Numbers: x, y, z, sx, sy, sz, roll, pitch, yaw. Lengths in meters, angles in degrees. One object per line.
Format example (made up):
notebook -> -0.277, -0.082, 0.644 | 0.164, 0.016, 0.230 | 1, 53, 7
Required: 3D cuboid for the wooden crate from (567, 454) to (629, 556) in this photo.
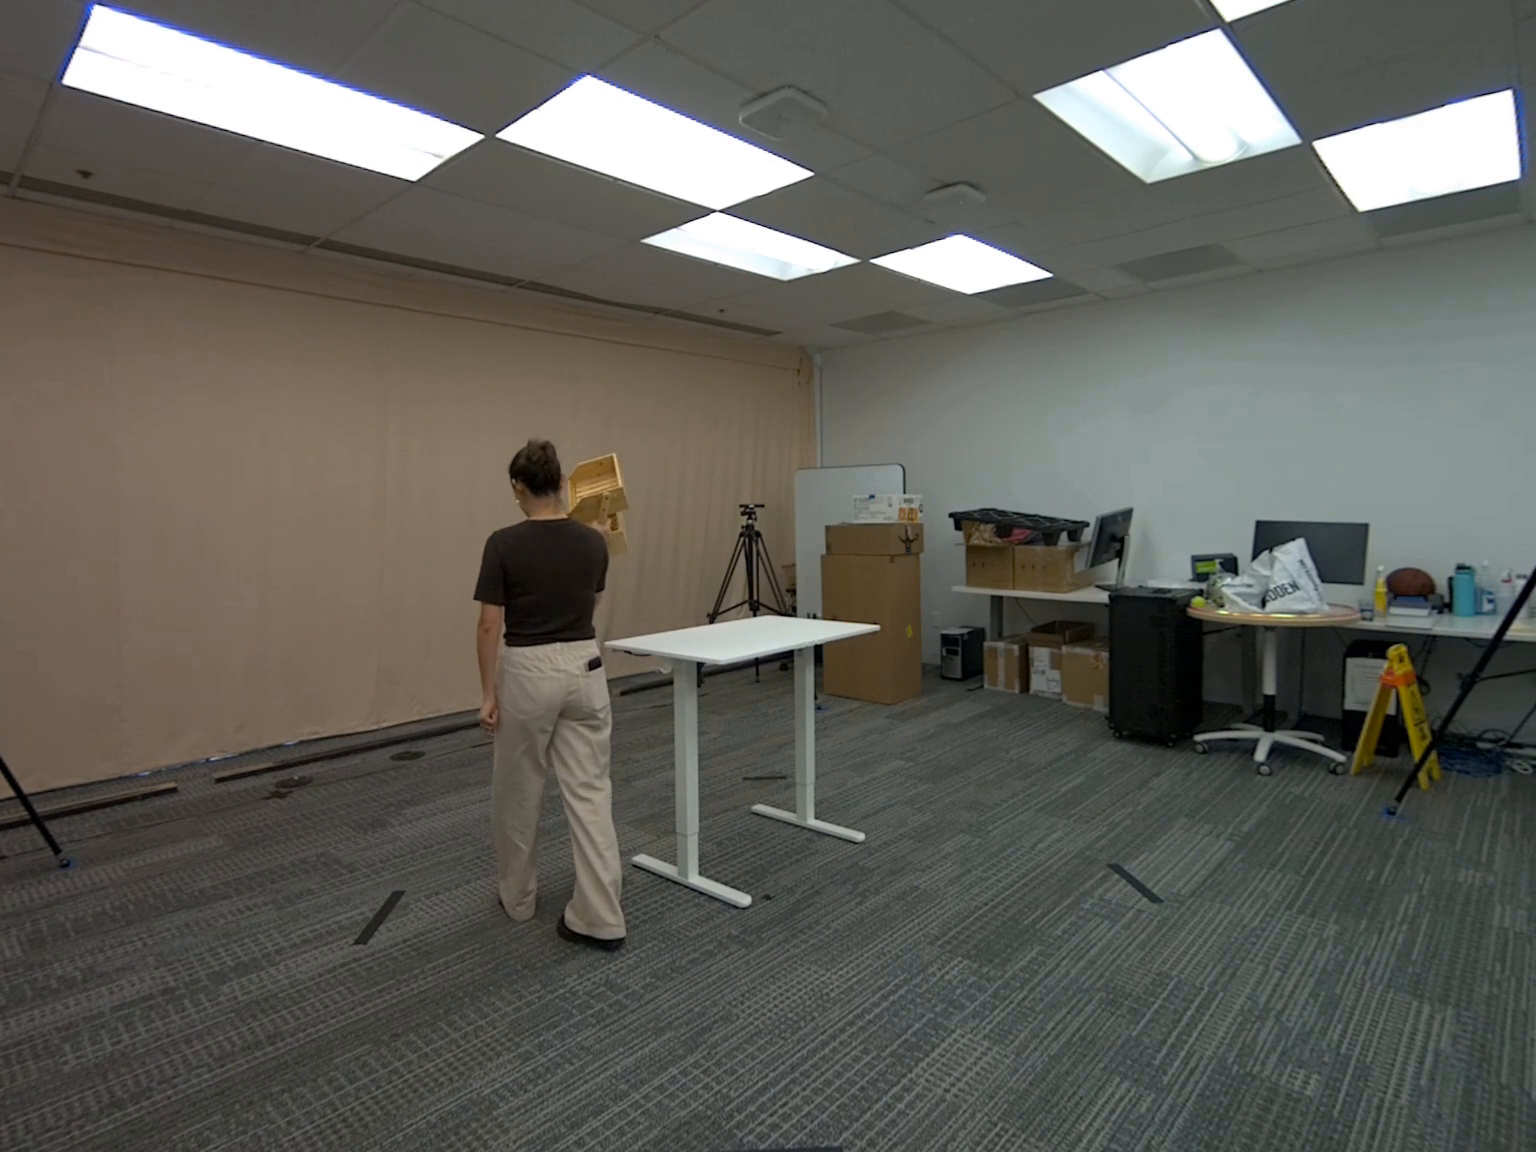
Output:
wooden crate -> -0.665, -0.249, 3.143 | 0.301, 0.267, 0.333 | -17, 33, -4
